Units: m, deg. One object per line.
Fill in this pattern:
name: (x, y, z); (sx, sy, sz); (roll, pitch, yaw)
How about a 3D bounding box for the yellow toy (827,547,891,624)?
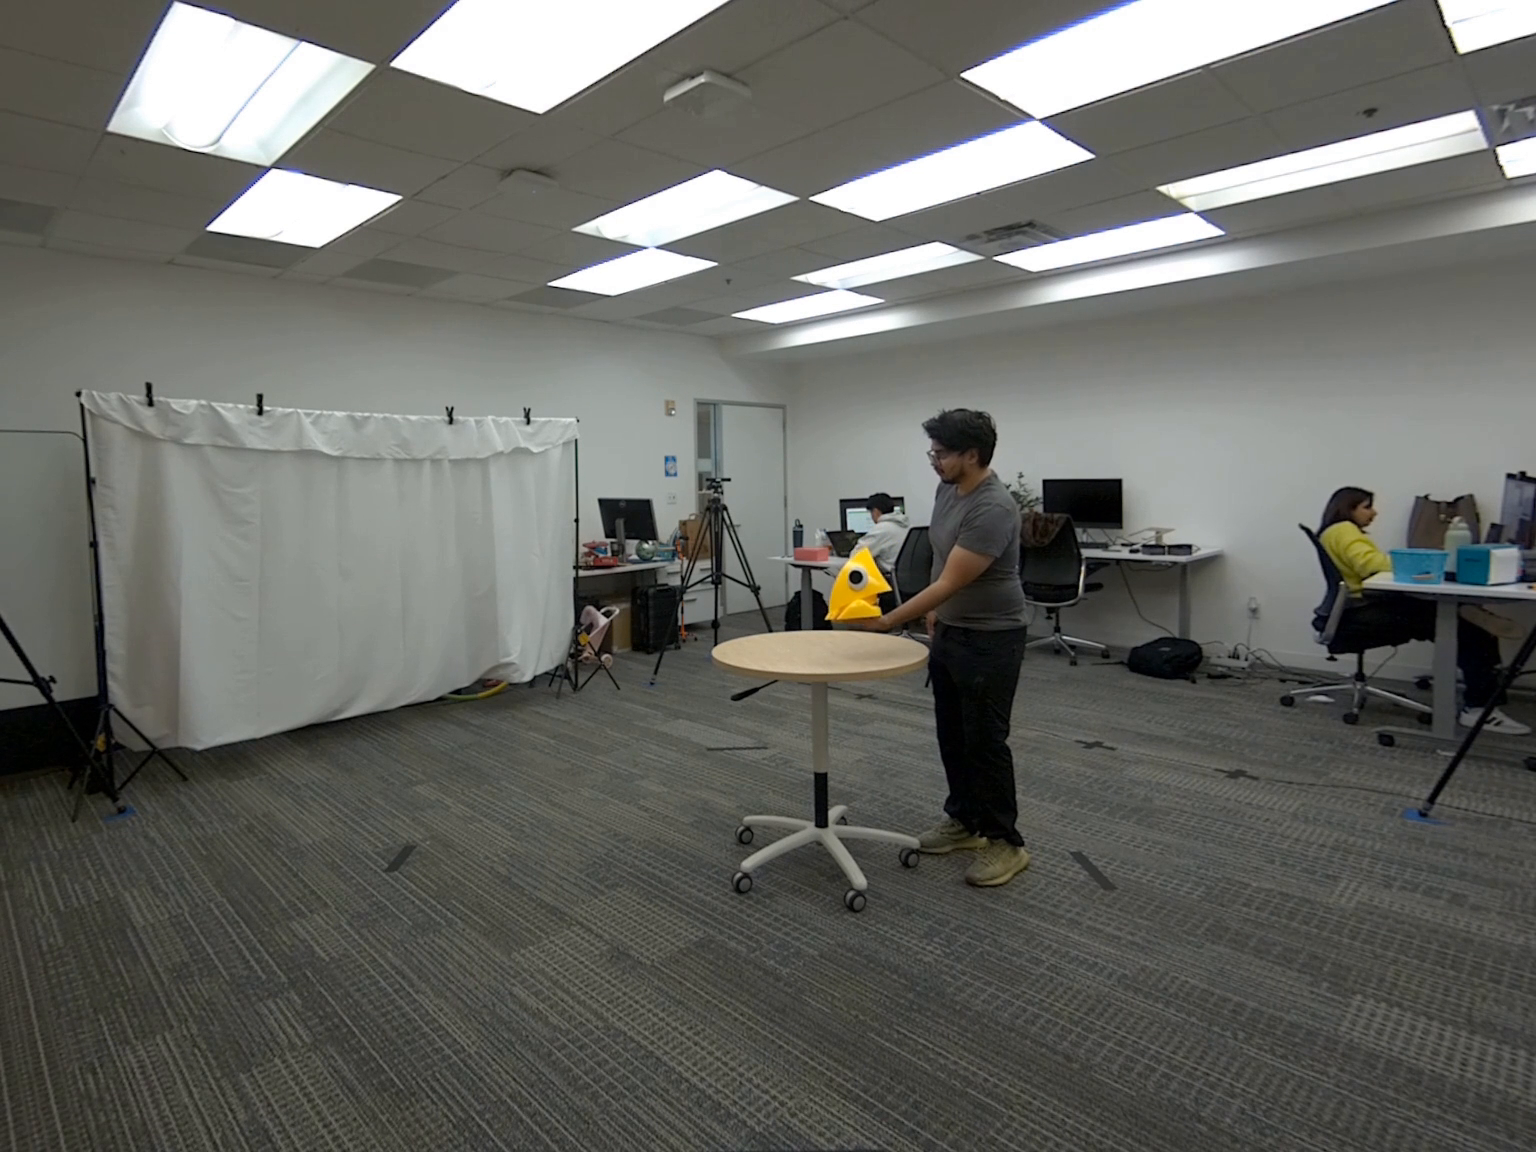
yellow toy: (0.292, 0.024, 2.842); (0.191, 0.232, 0.206); (-5, -4, -13)
